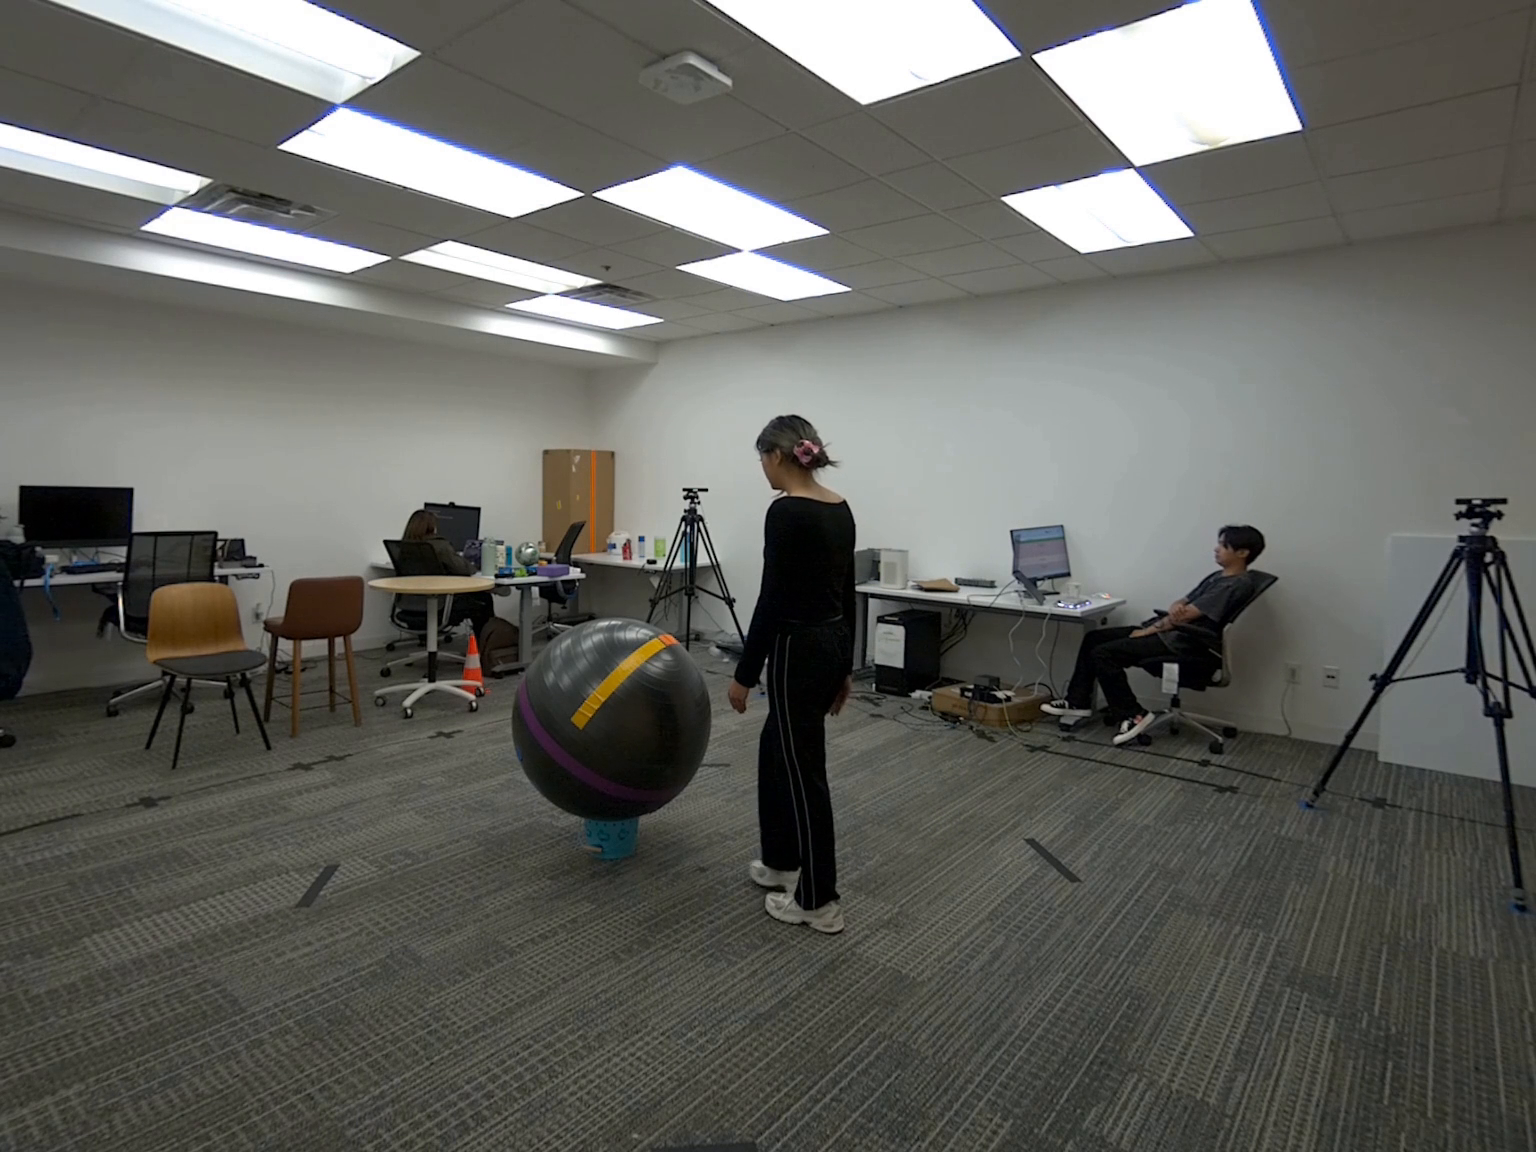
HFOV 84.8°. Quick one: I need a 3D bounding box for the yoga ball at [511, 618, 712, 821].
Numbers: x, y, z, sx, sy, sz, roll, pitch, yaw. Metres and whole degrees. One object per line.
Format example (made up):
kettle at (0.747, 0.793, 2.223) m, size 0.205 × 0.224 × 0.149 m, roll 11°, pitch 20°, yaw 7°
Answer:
yoga ball at (-0.608, 0.545, 3.251) m, size 0.757 × 0.755 × 0.762 m, roll 1°, pitch 4°, yaw -2°
